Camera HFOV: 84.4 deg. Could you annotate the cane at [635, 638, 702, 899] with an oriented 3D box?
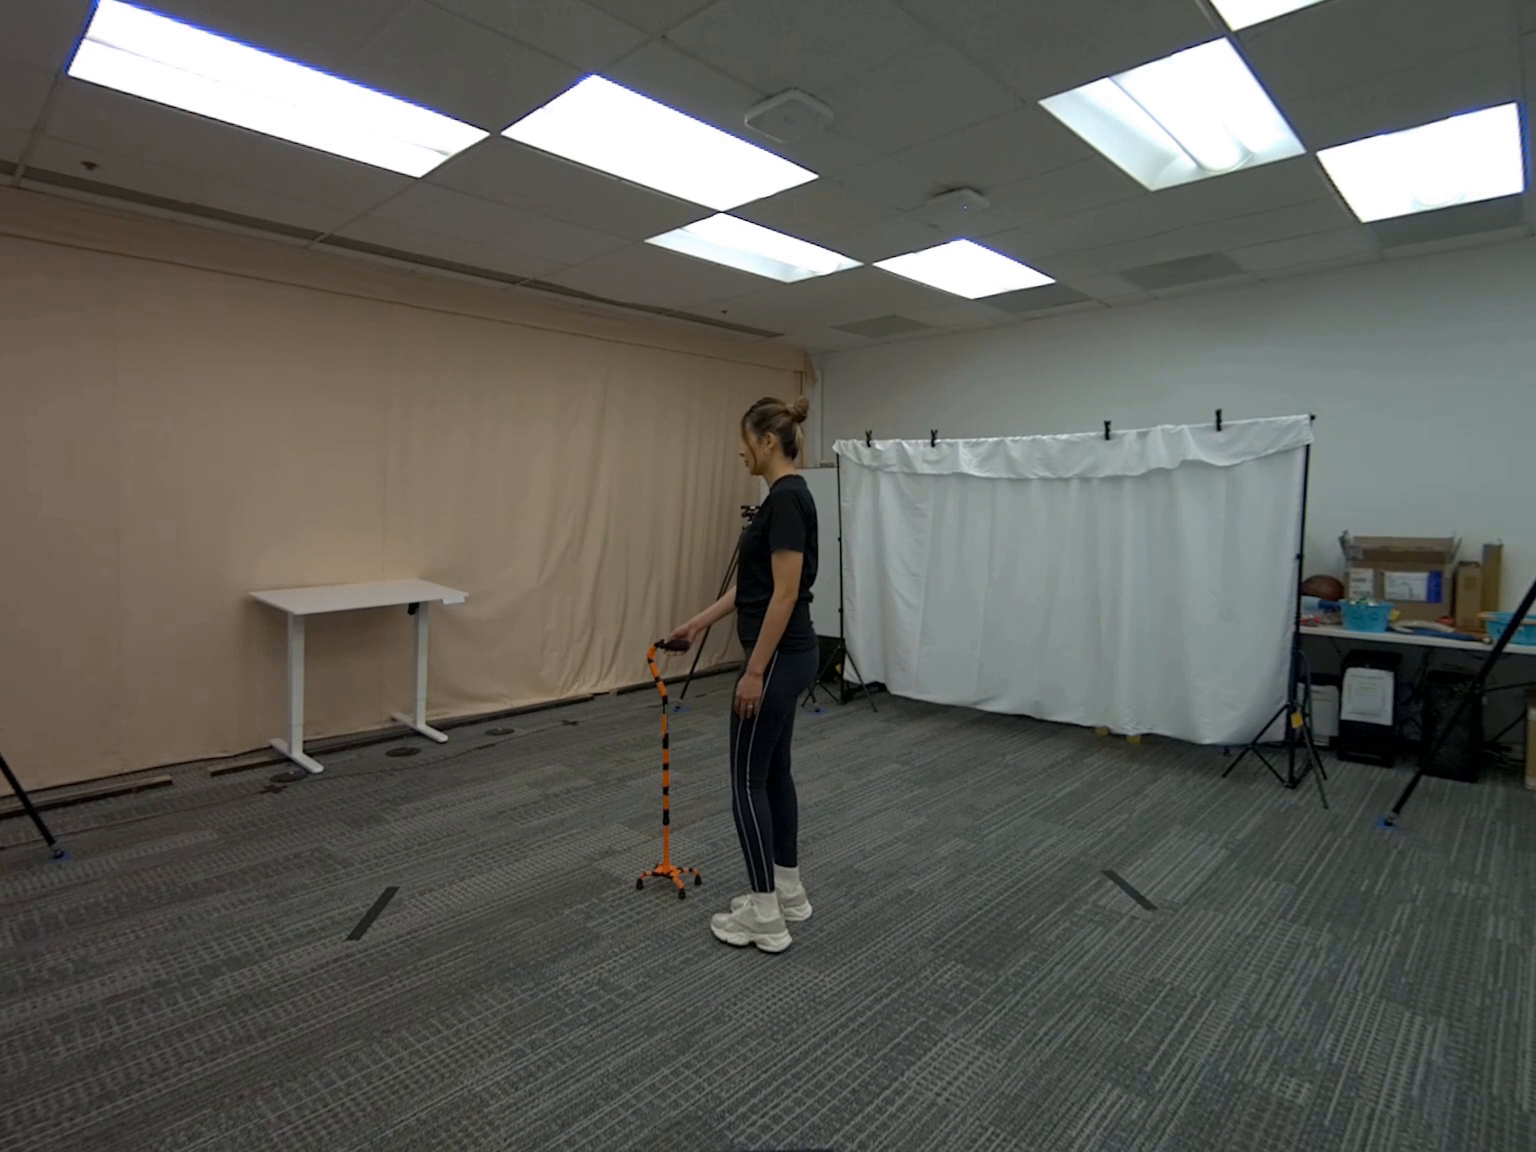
[{"bbox_3d":[-0.363,0.686,3.067,0.211,0.906,0.148,1,3,24],"label":"cane"}]
